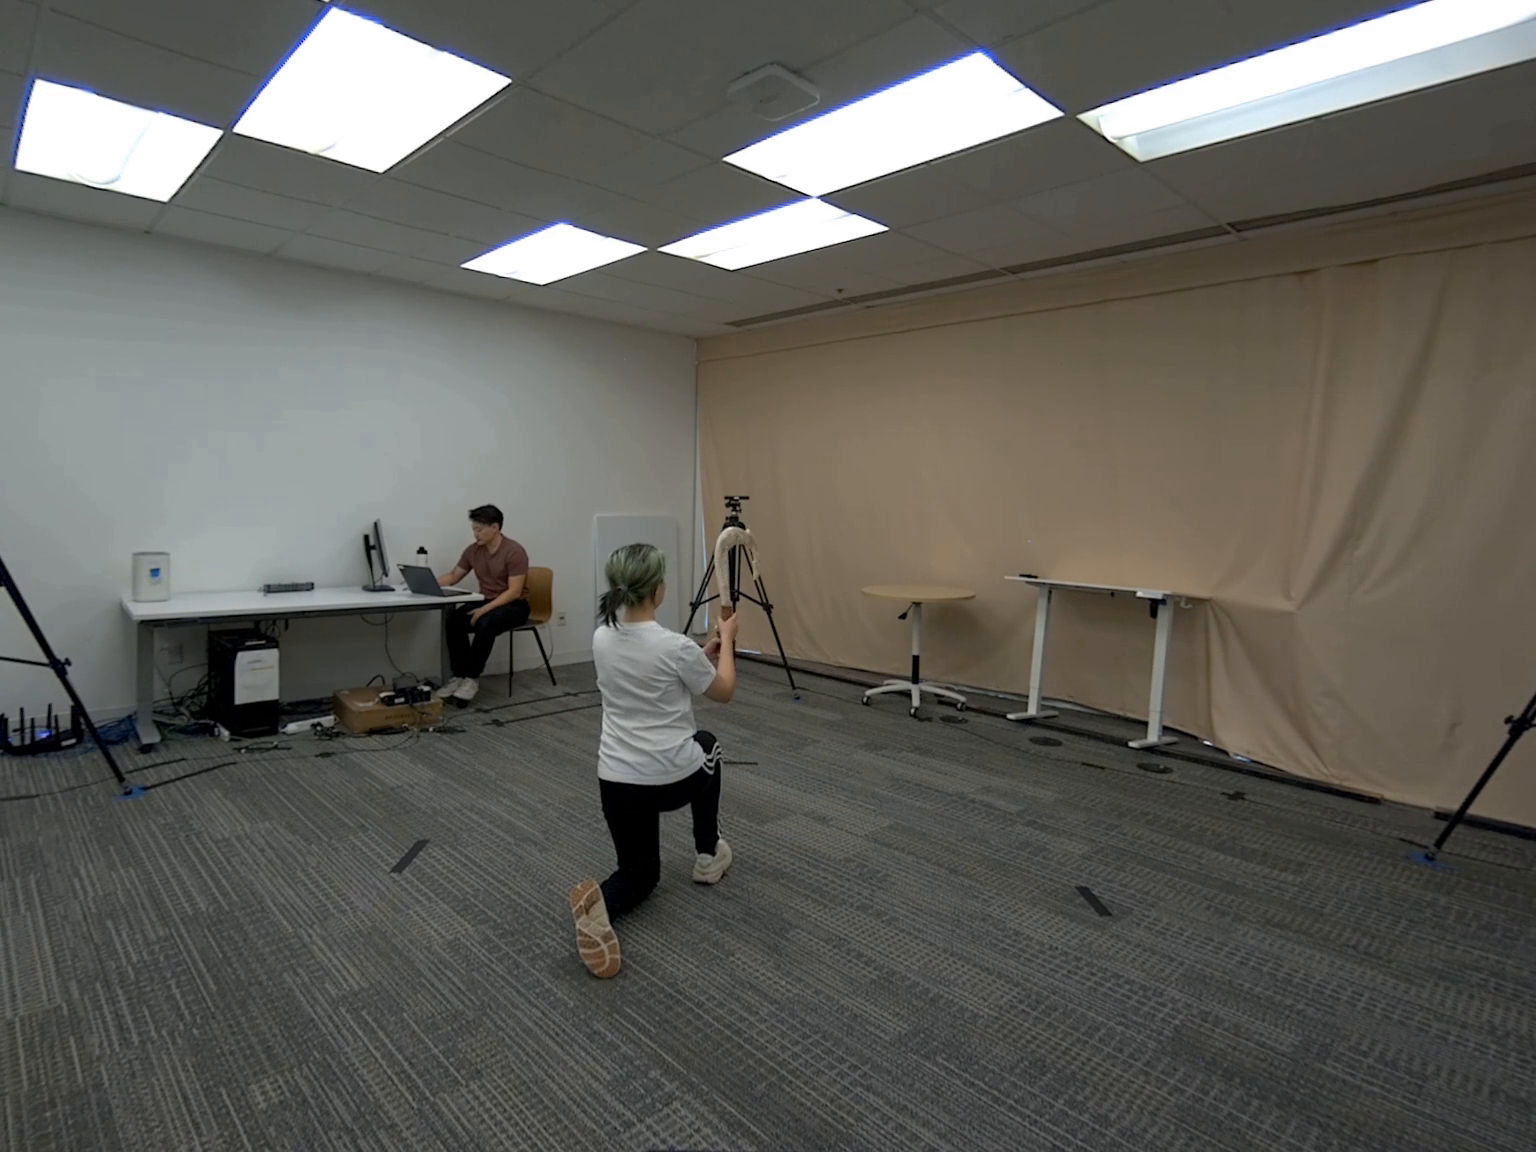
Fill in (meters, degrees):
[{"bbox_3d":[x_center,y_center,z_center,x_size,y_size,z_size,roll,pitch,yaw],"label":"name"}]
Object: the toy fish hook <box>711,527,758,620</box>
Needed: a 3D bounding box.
[{"bbox_3d":[-0.127,0.070,3.245,0.219,0.509,0.049,9,-10,-33],"label":"toy fish hook"}]
